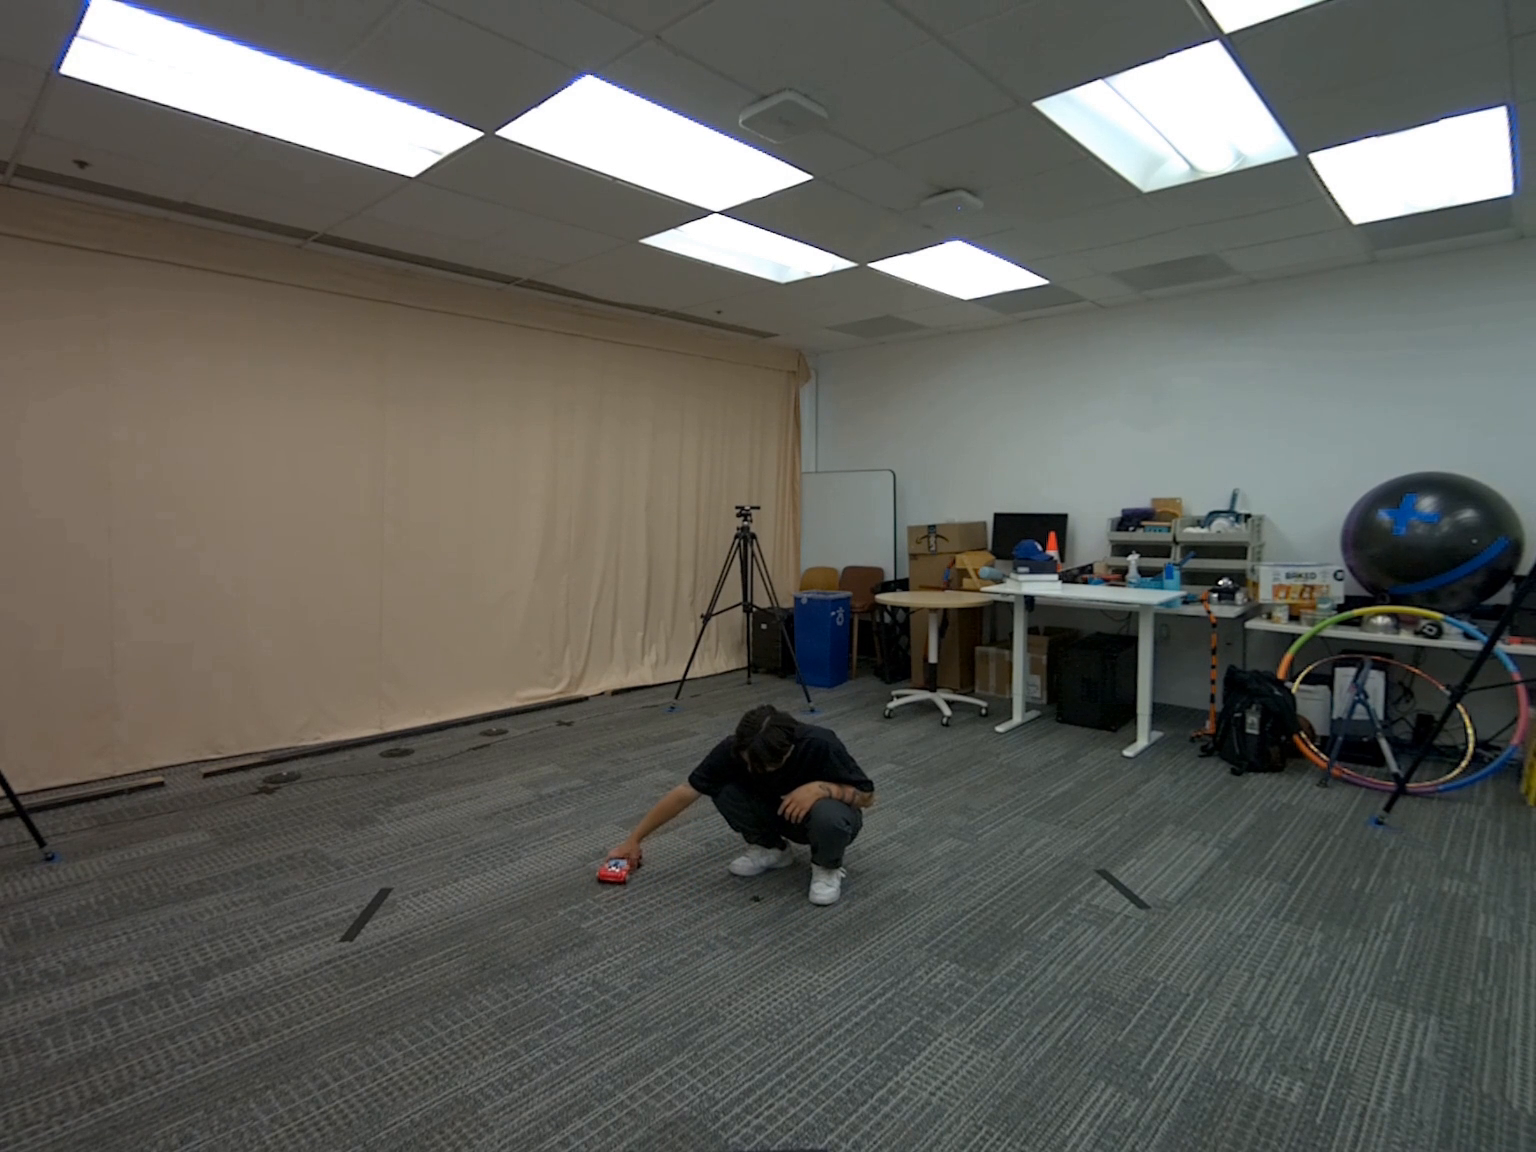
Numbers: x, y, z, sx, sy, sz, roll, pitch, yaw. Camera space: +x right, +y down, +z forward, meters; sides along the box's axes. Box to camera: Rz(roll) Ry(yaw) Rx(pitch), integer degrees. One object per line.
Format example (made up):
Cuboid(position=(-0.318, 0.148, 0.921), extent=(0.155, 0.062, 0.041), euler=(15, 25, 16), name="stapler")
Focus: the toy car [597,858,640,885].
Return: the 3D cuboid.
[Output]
Cuboid(position=(-0.553, 1.100, 3.223), extent=(0.132, 0.082, 0.253), euler=(0, 15, 11), name="toy car")
